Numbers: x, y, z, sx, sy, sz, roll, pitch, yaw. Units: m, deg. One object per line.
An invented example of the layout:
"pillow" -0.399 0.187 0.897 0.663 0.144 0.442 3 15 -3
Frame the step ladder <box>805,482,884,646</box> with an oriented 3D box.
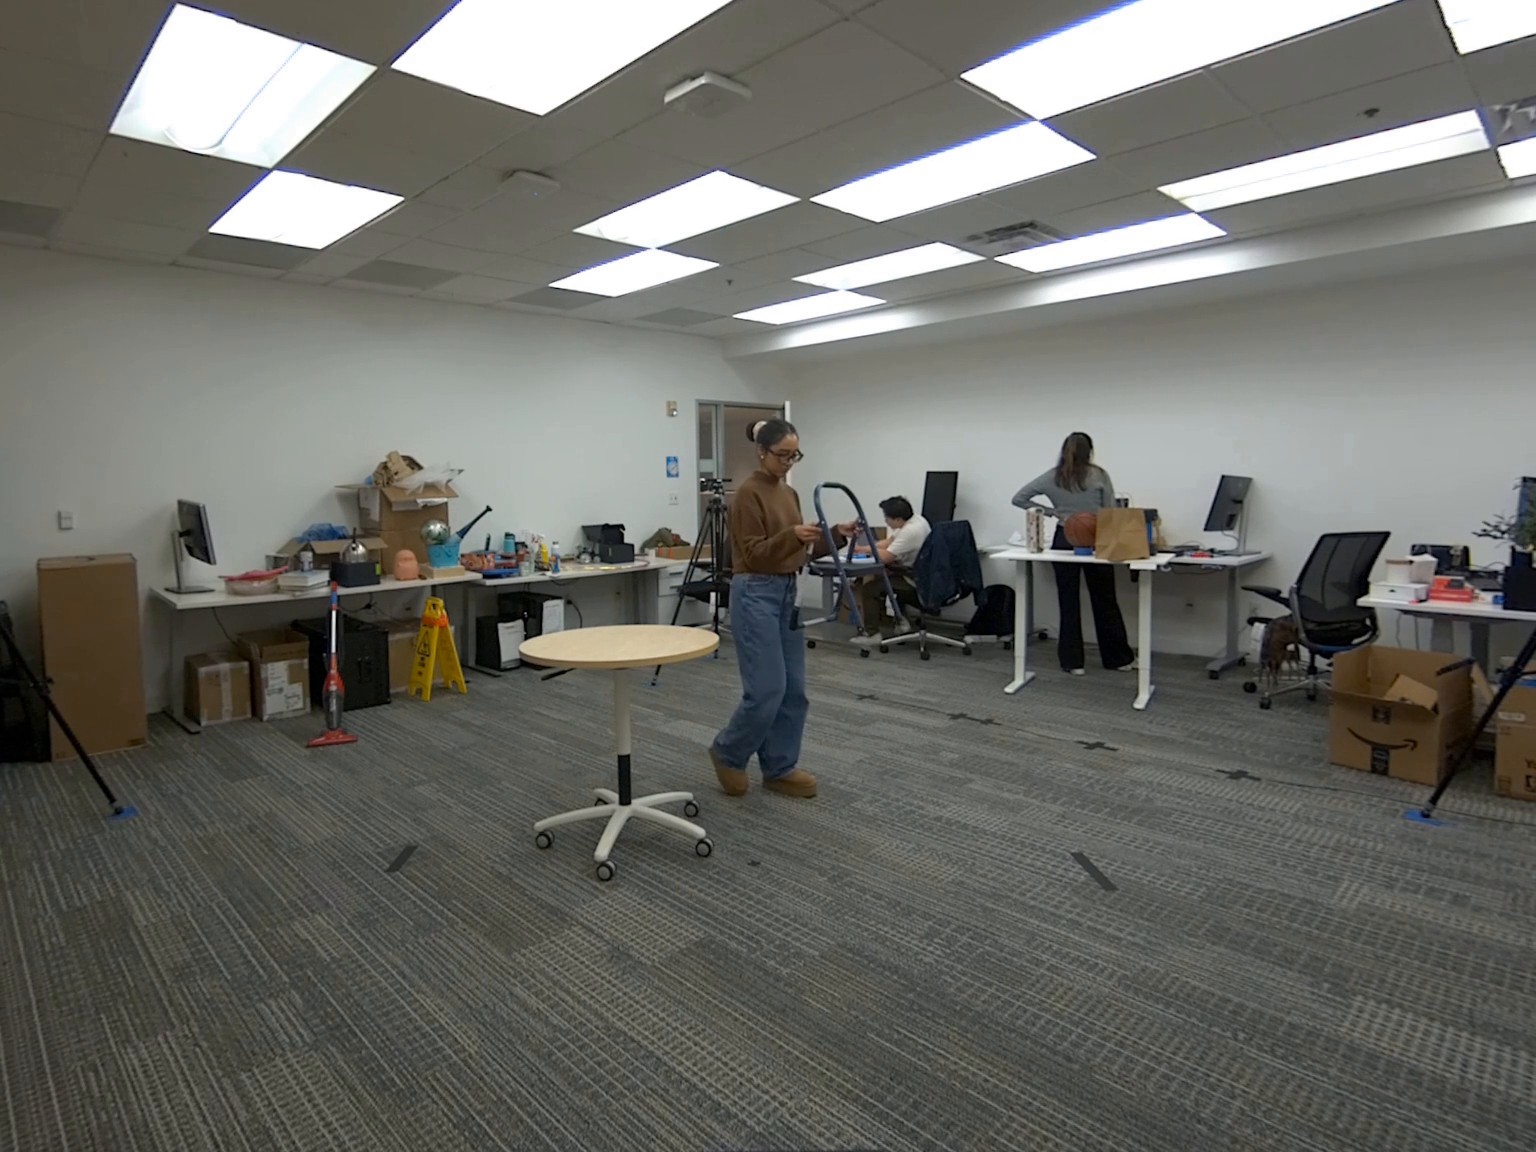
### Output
"step ladder" 0.324 -0.084 3.566 0.358 0.605 0.420 1 2 31
